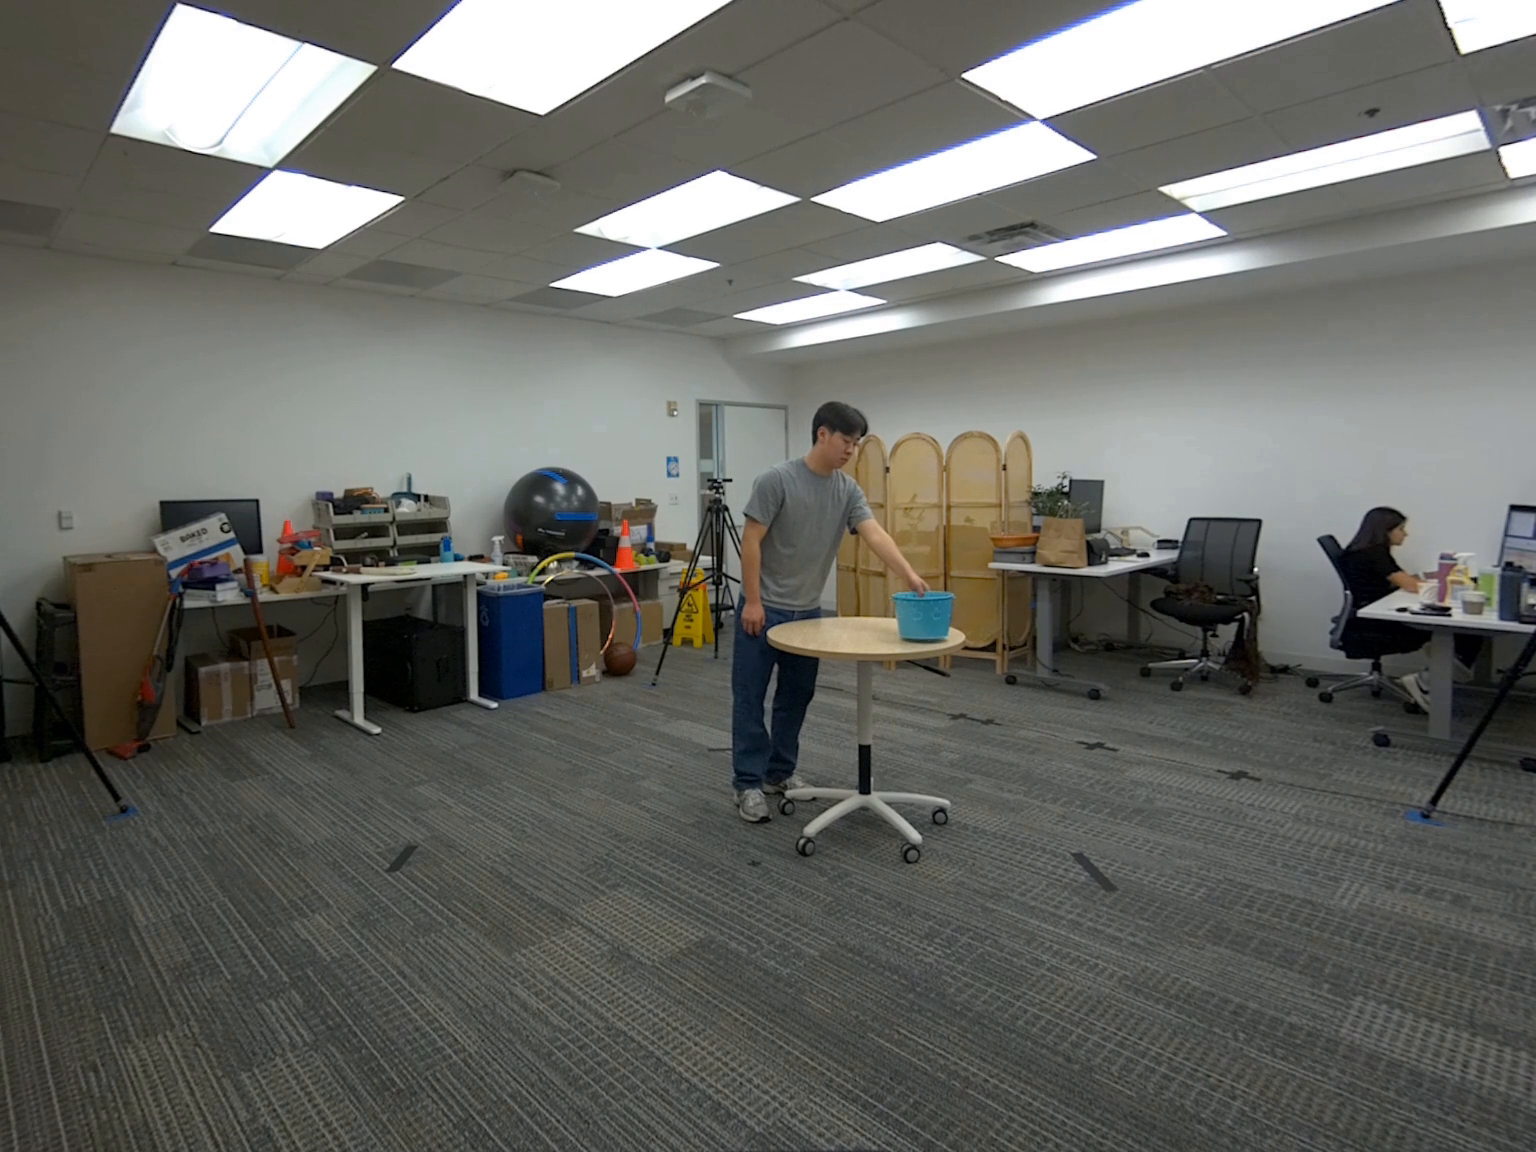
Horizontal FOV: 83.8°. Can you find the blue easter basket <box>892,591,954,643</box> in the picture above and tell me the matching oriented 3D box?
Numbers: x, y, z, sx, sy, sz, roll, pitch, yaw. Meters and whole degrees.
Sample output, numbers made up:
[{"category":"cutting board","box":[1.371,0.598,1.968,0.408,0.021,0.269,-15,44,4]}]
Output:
[{"category":"blue easter basket","box":[0.603,0.150,3.222,0.243,0.155,0.244,-1,3,-2]}]
